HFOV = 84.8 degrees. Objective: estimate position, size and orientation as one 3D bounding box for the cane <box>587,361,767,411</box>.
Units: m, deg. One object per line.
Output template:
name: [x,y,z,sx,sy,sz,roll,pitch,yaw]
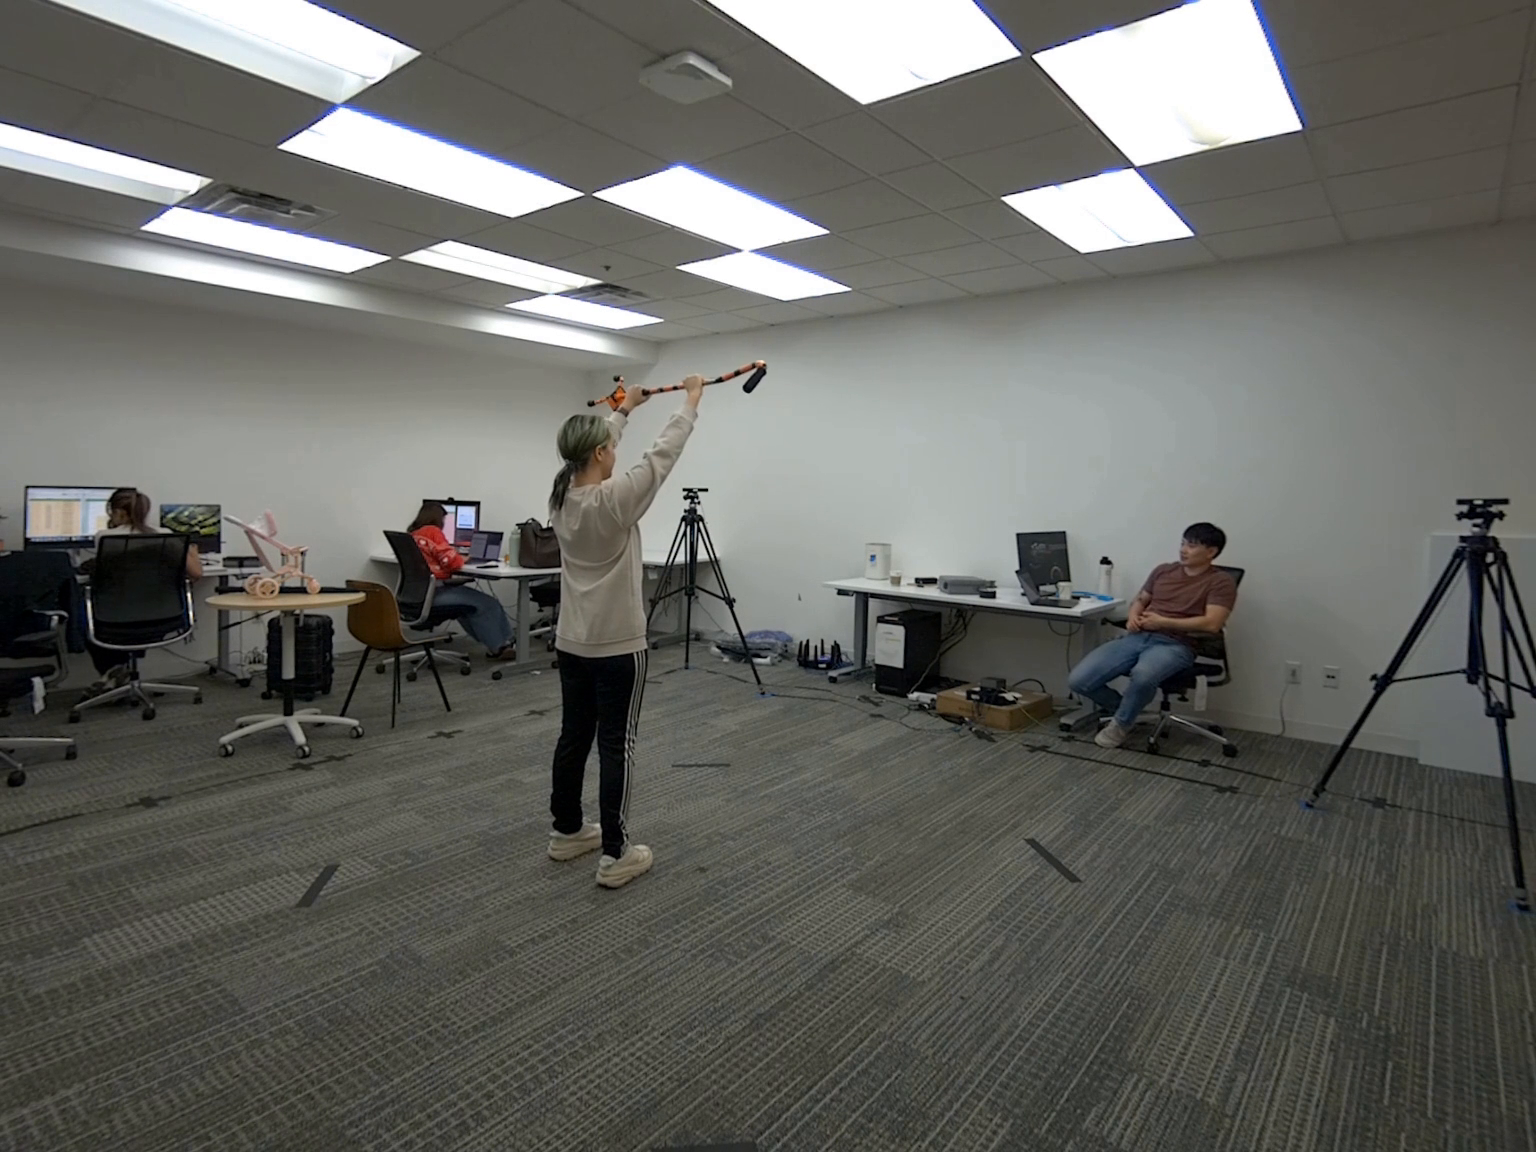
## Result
cane: [-0.343,-0.712,3.253,0.938,0.146,0.207,4,48,46]
